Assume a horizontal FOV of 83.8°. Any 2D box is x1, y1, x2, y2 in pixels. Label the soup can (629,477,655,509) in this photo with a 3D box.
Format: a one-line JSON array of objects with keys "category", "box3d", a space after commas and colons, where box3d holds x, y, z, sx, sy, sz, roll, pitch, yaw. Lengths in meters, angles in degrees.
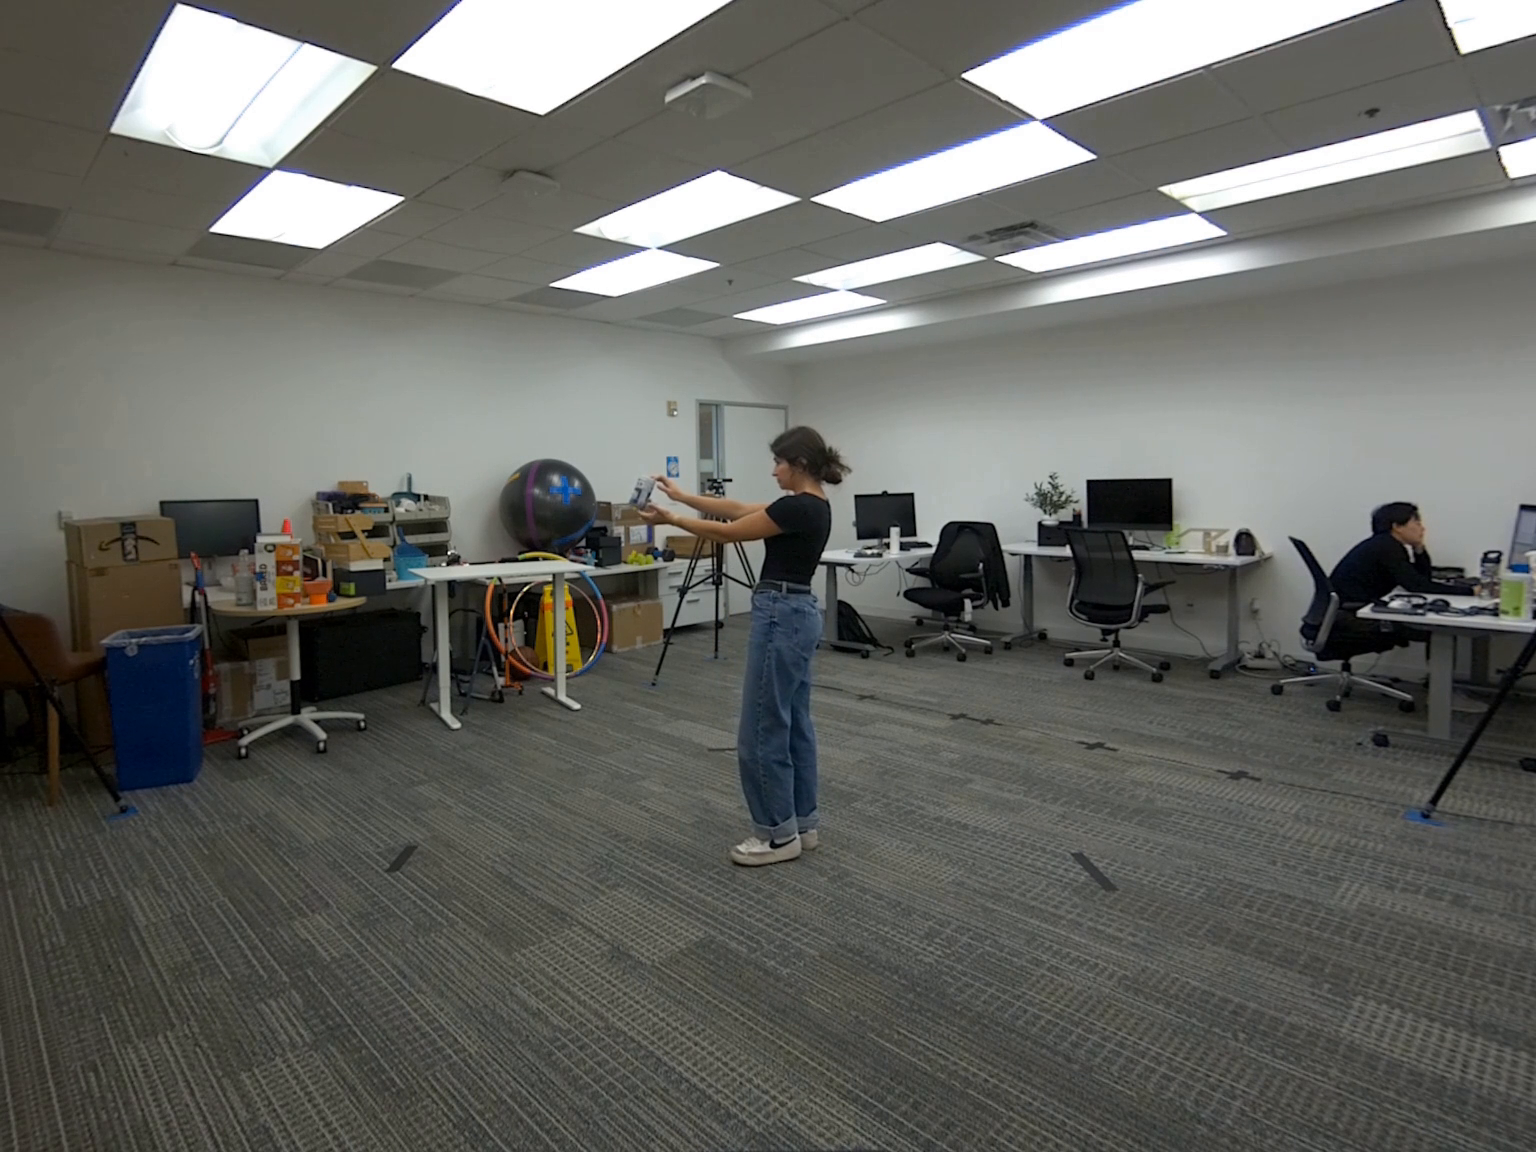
[{"category": "soup can", "box3d": [-0.477, -0.326, 3.293, 0.067, 0.121, 0.067, 17, 0, -2]}]
